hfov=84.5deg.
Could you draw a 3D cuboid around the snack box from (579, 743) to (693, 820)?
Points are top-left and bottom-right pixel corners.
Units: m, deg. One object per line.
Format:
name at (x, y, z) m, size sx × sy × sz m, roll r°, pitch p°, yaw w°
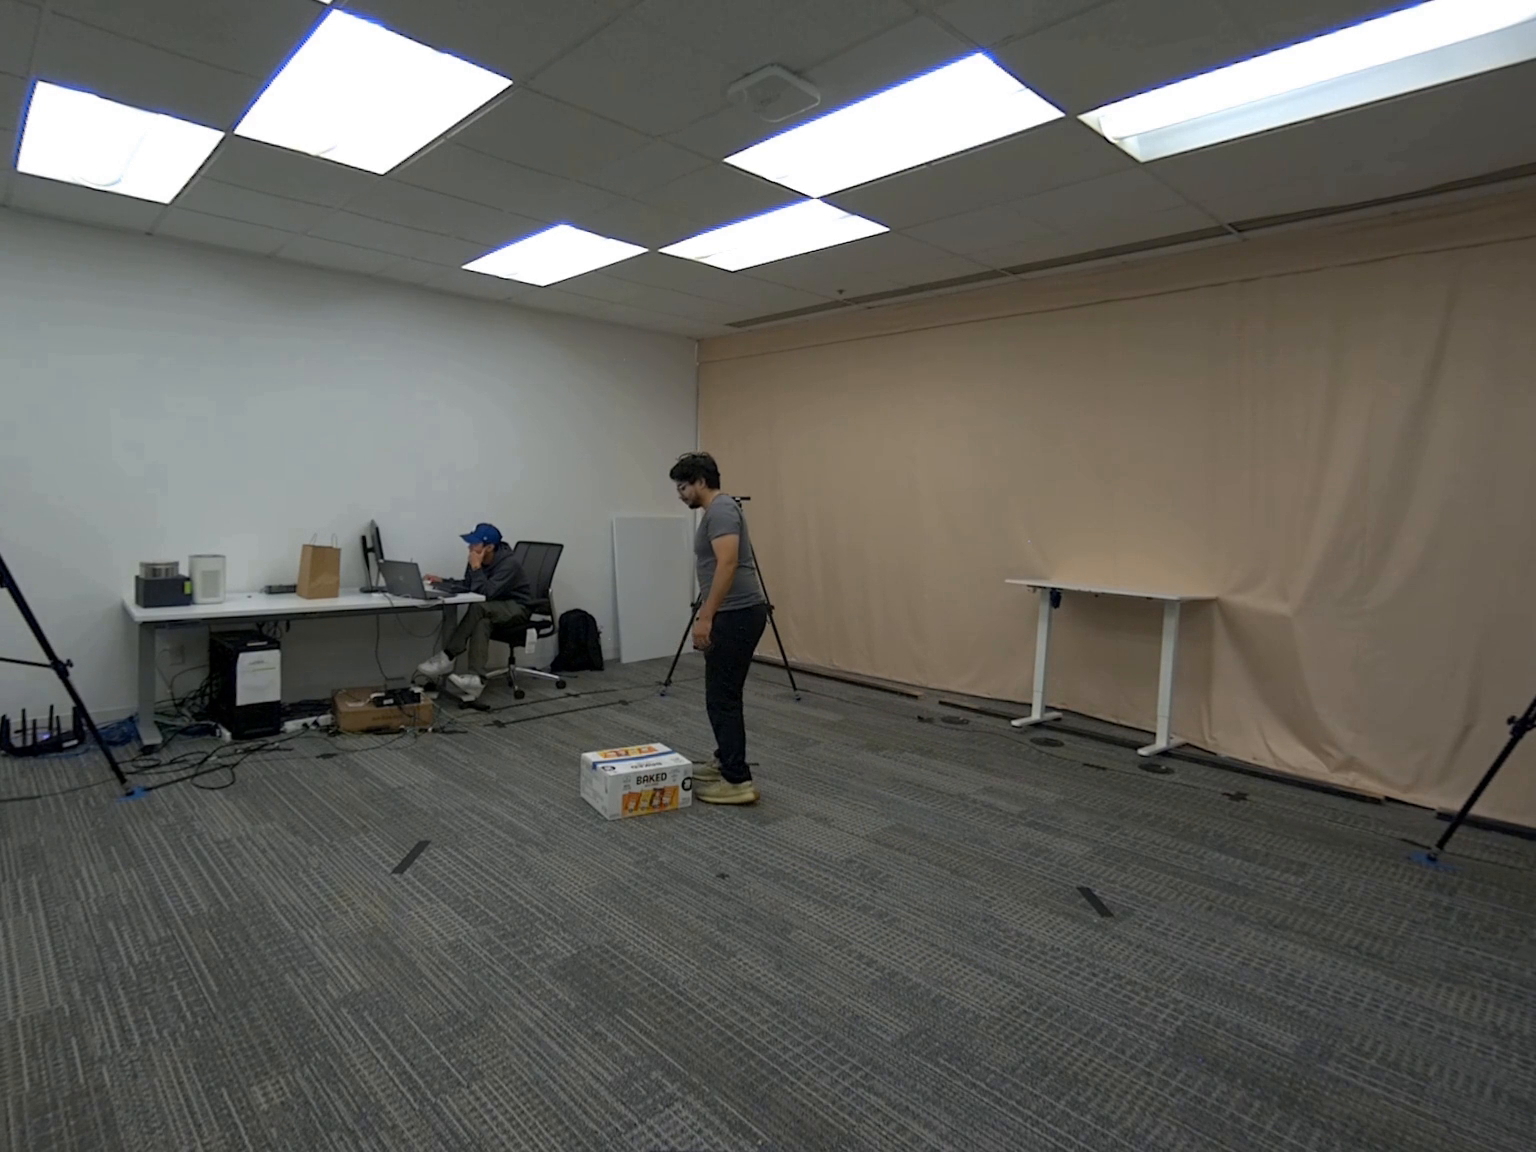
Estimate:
snack box at (-0.614, 0.930, 3.839) m, size 0.396 × 0.205 × 0.348 m, roll -1°, pitch 5°, yaw -32°
